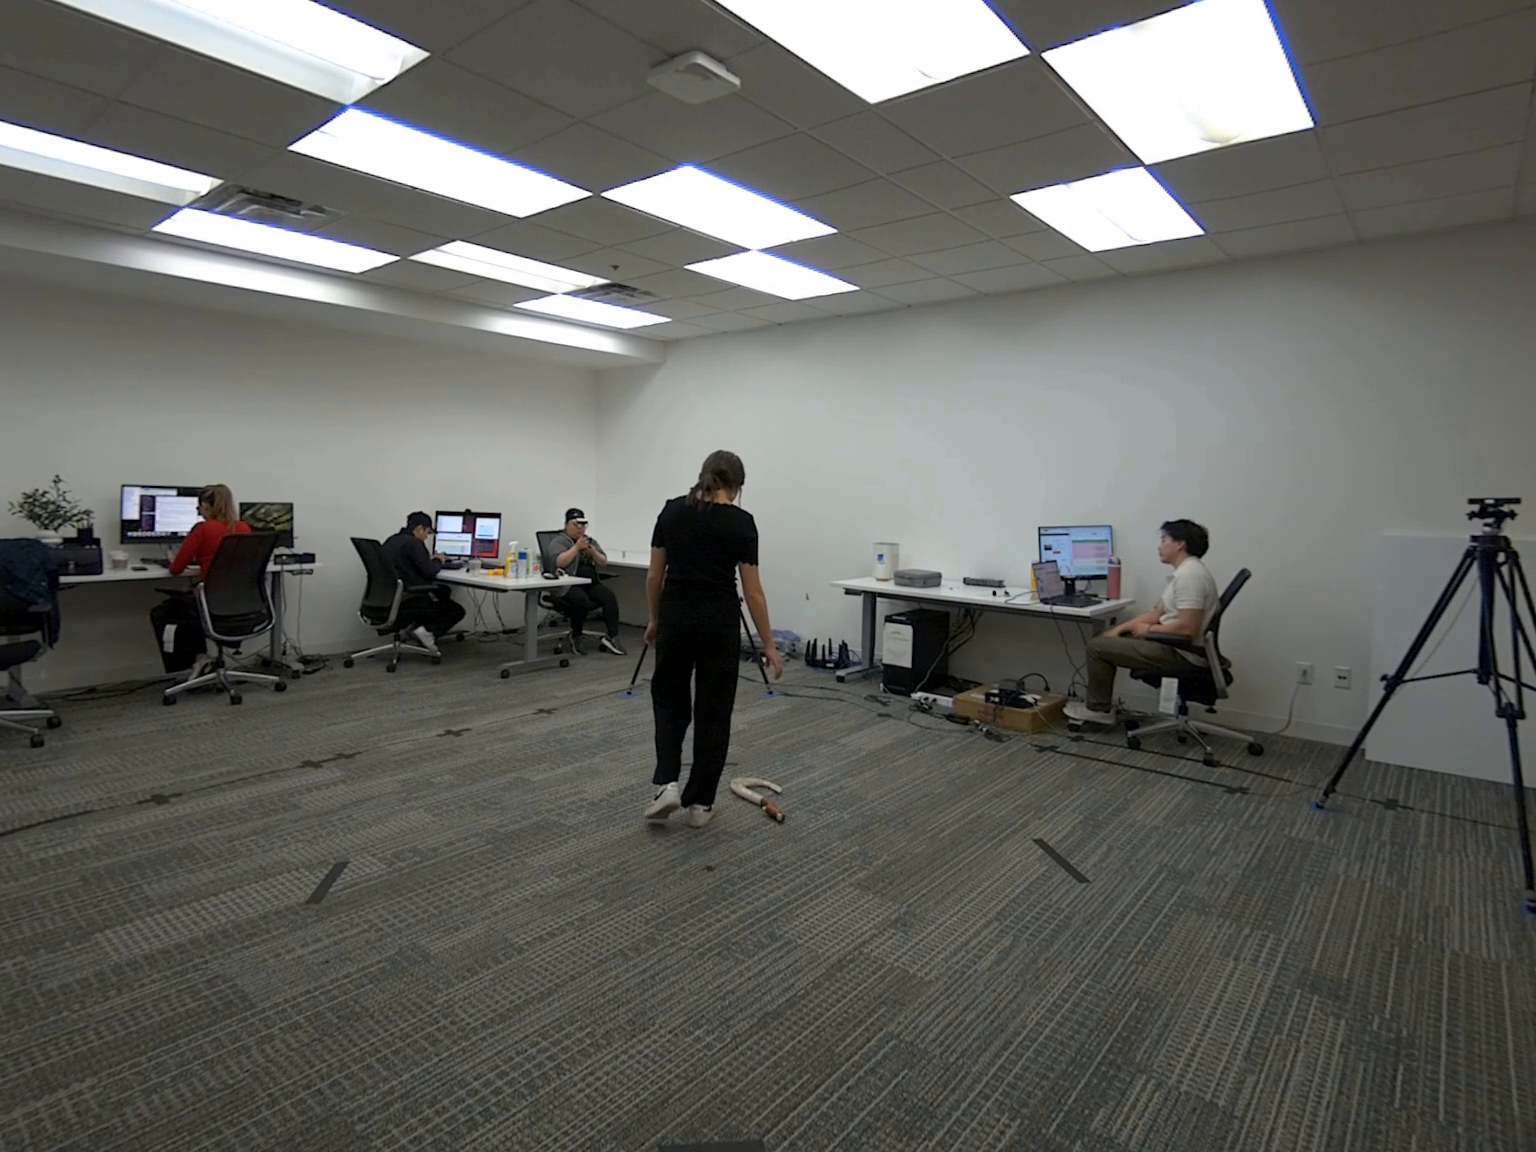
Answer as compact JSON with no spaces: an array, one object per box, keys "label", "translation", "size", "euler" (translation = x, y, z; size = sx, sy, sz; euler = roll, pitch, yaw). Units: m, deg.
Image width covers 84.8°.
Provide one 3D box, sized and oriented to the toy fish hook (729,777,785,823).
[{"label":"toy fish hook","translation":[-0.012,0.981,3.787],"size":[0.220,0.048,0.520],"euler":[-3,7,-23]}]
